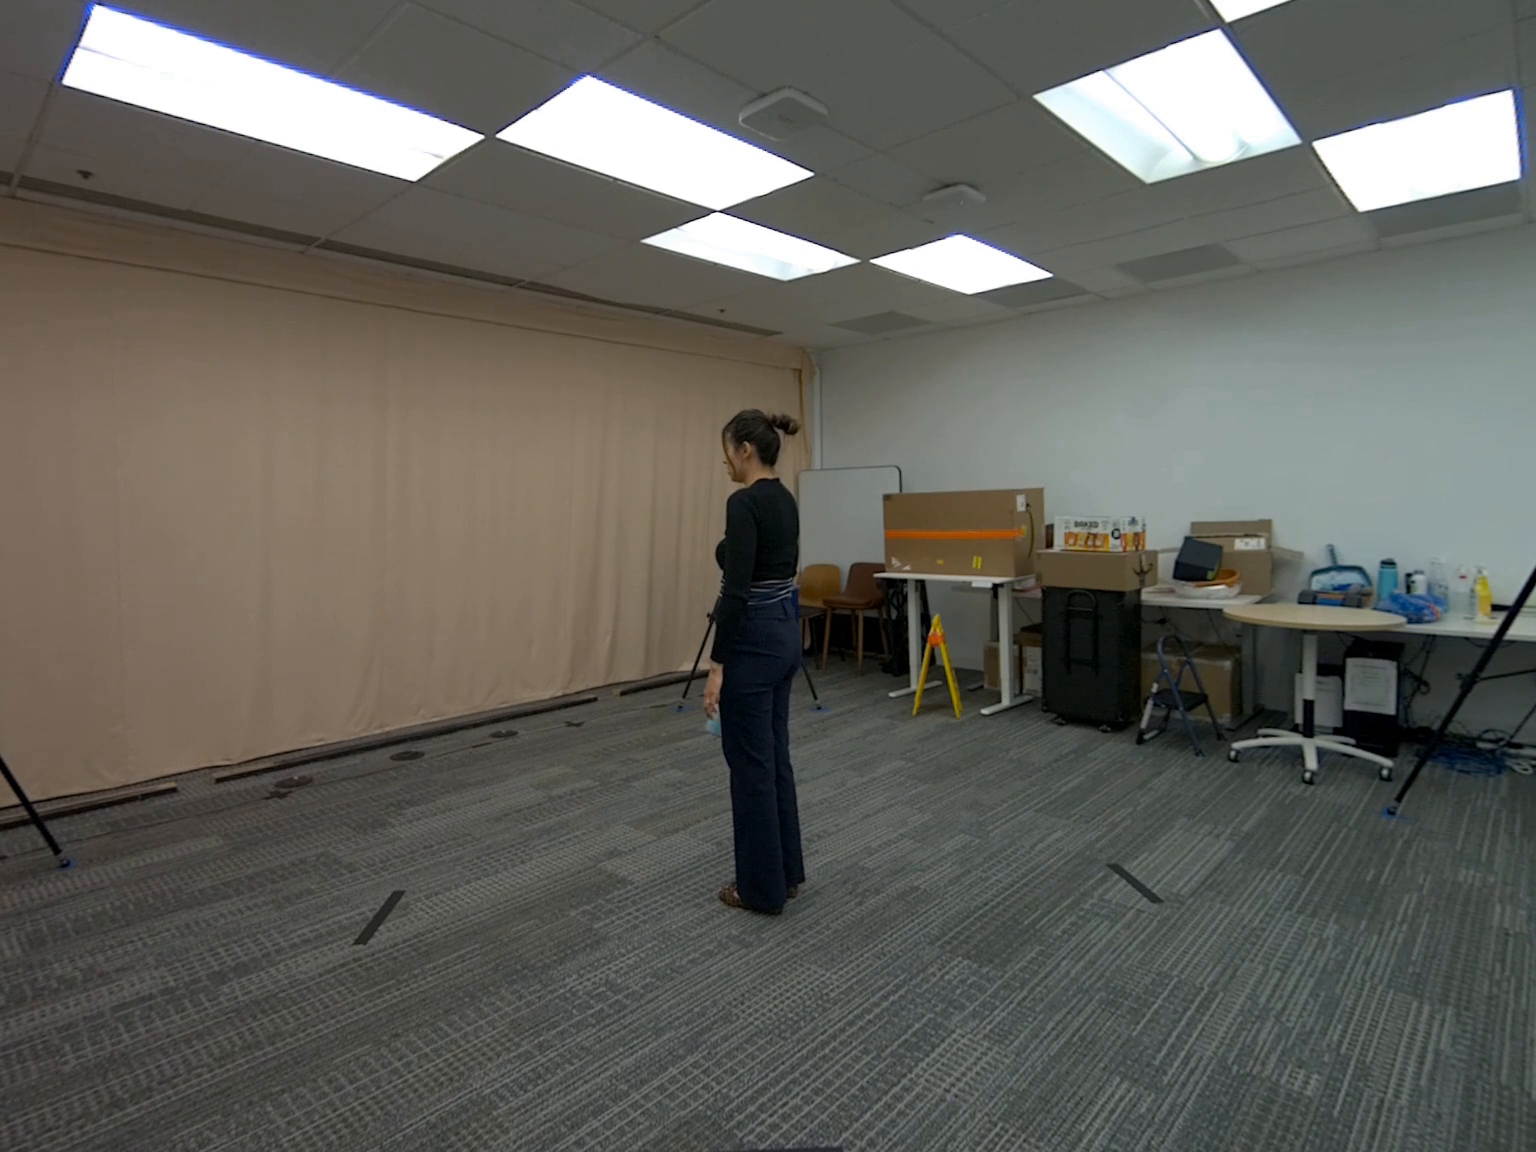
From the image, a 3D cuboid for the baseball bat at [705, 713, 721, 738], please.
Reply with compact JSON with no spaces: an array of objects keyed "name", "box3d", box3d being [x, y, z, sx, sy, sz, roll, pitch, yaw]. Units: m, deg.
[{"name":"baseball bat","box3d":[-0.105,0.392,3.410,0.089,0.542,0.089,24,5,-4]}]
